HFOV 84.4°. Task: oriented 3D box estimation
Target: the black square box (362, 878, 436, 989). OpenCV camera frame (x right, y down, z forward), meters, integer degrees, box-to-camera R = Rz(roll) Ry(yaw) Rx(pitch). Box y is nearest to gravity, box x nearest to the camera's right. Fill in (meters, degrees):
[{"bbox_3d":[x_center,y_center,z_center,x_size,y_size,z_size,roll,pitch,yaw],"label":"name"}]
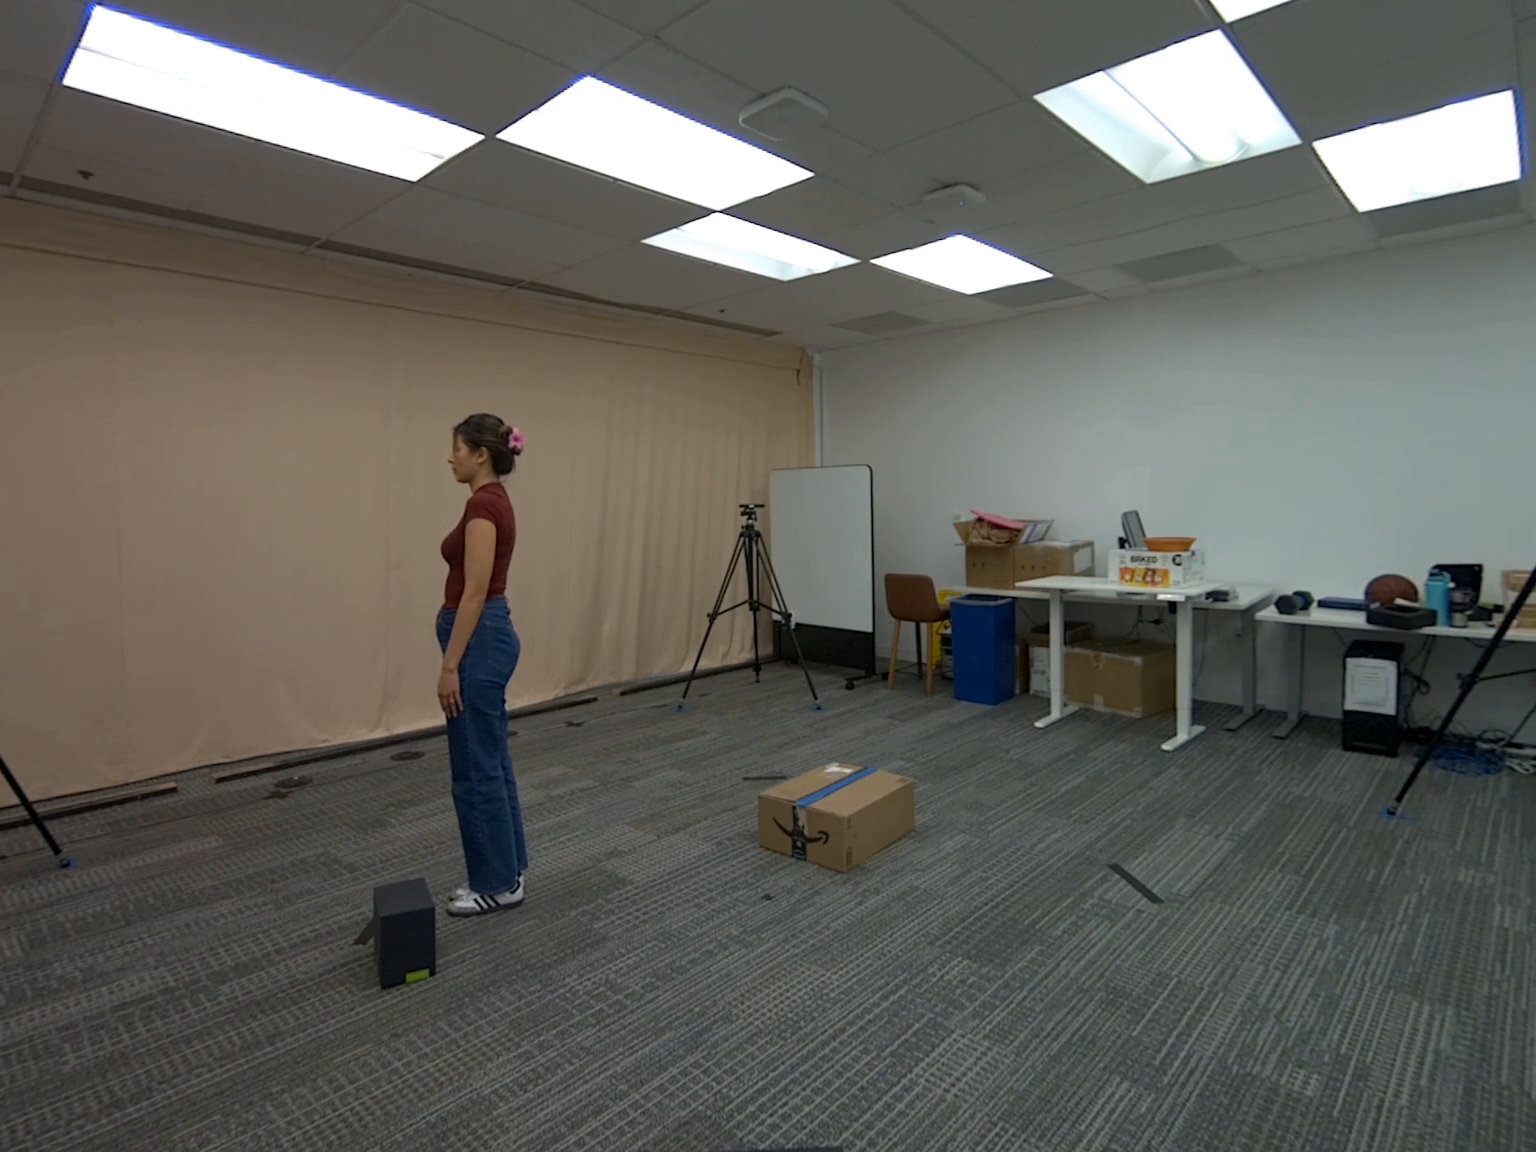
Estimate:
[{"bbox_3d":[-1.116,1.080,2.583,0.152,0.216,0.234,-1,4,-30],"label":"black square box"}]
